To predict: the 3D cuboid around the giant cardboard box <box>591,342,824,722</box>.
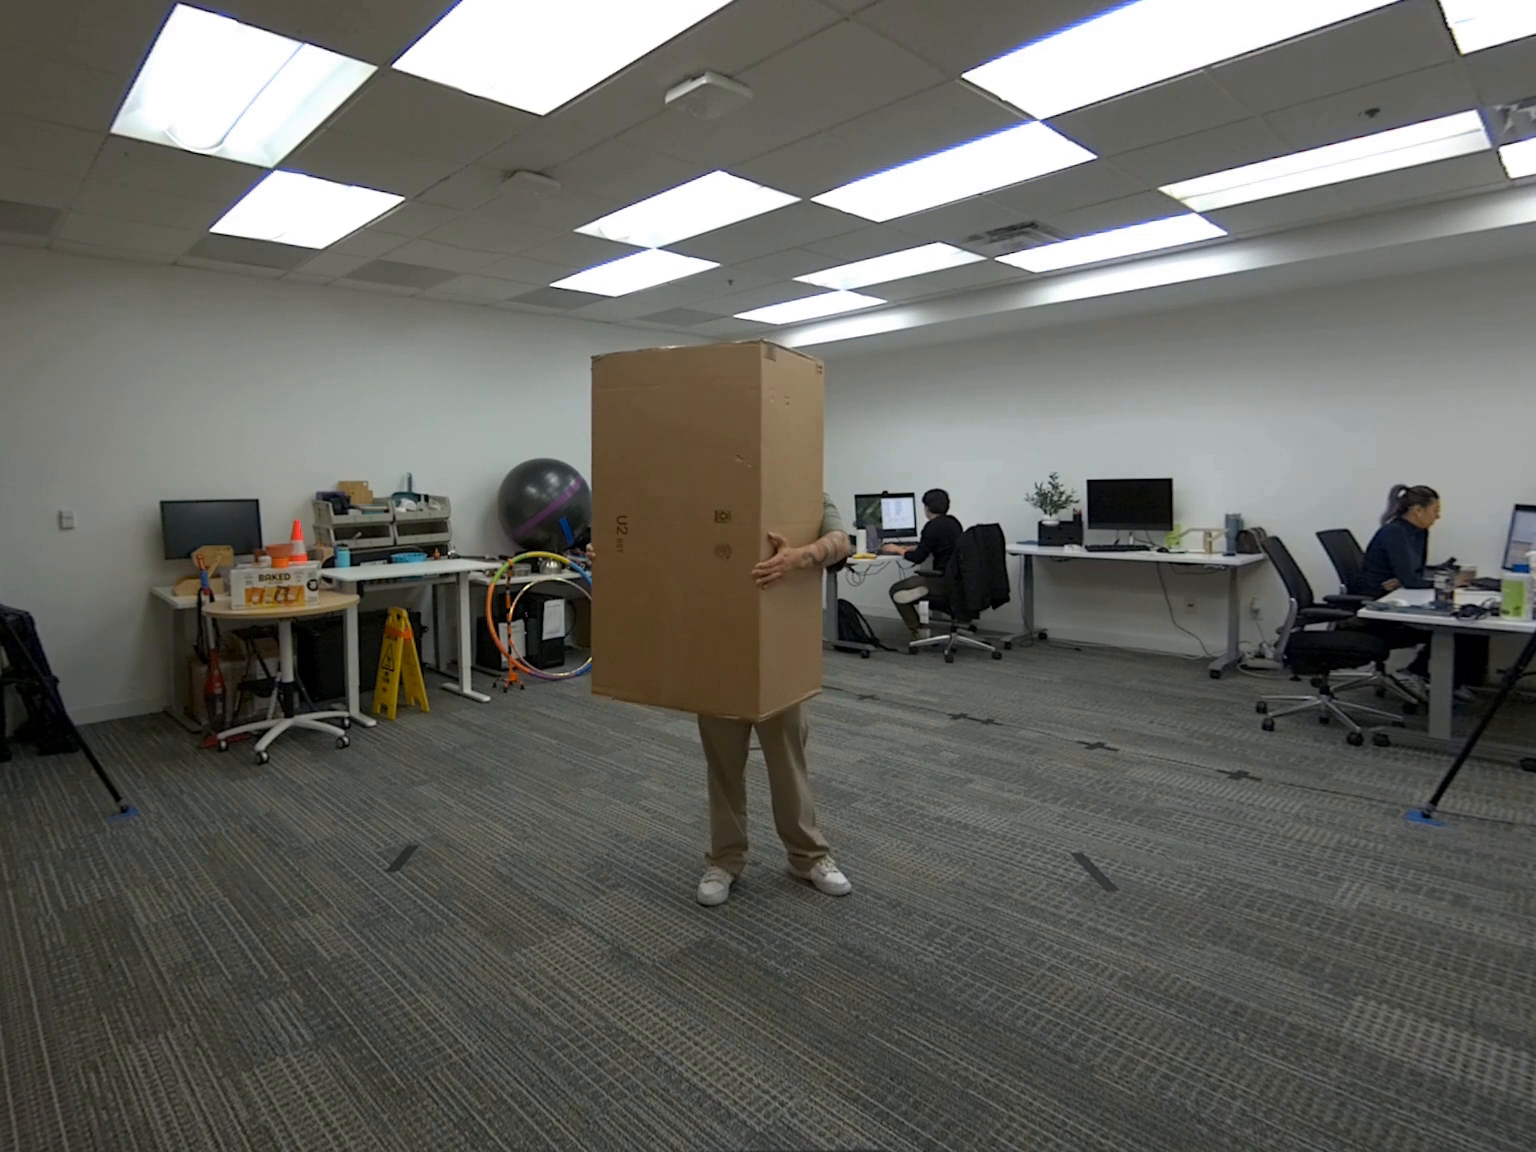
[{"bbox_3d":[-0.176,-0.149,2.583,0.592,1.024,0.416,1,2,29],"label":"giant cardboard box"}]
